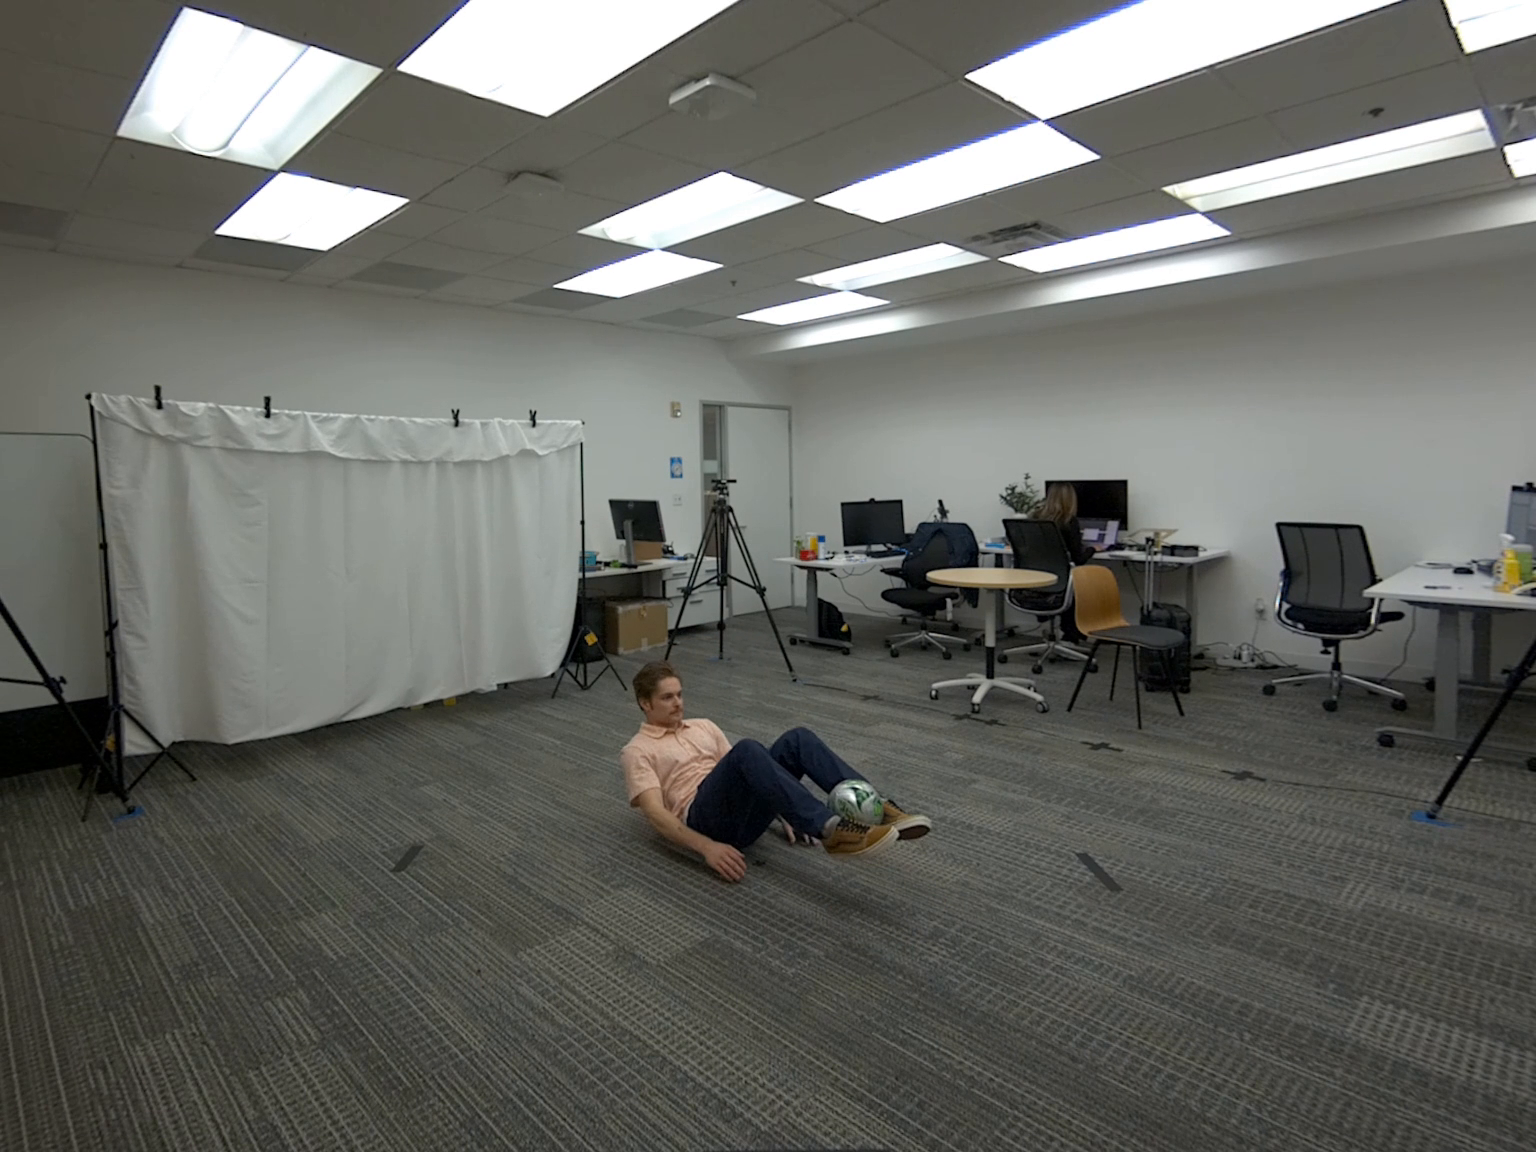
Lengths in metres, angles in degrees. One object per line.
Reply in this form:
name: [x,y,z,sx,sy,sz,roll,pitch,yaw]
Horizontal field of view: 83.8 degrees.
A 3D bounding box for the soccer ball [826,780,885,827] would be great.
soccer ball: [0.287,0.768,2.794,0.187,0.187,0.188,-1,5,-2]
